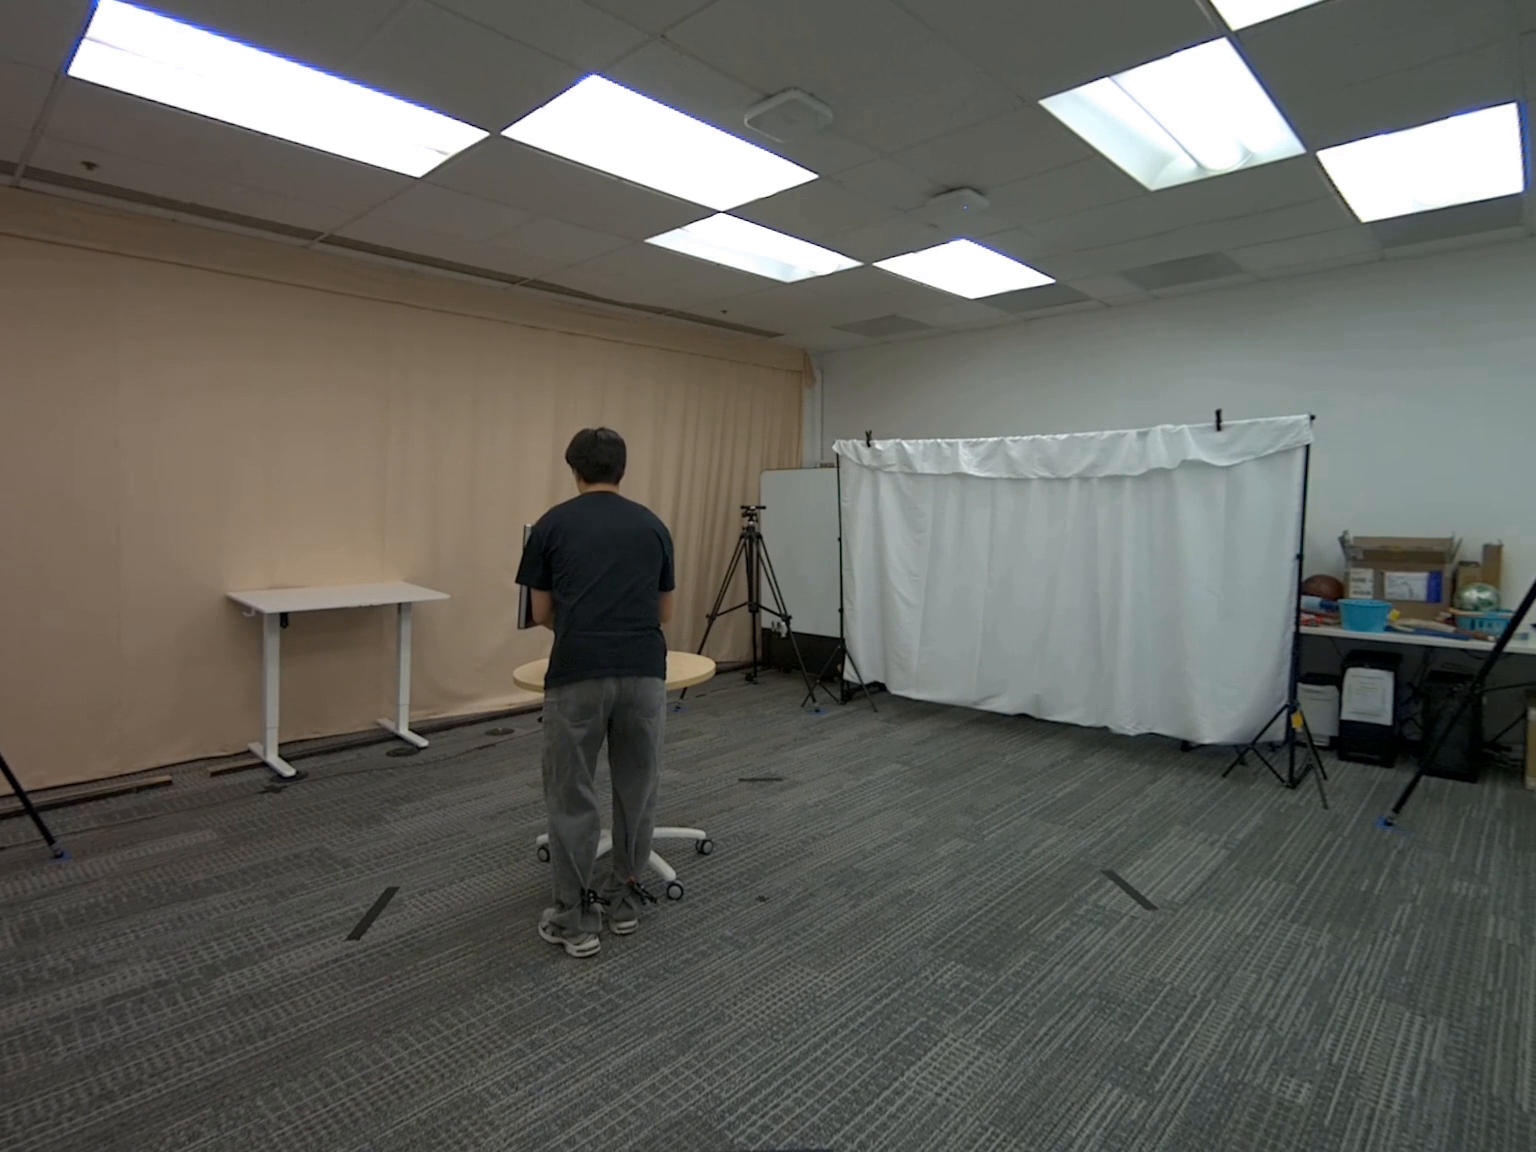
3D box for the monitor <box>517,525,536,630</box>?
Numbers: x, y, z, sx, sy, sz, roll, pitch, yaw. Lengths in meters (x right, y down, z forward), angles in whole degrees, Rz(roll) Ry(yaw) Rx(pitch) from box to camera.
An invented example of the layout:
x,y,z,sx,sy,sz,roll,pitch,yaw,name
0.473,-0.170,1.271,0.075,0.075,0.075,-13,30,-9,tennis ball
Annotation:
x,y,z,sx,sy,sz,roll,pitch,yaw,name
-0.731,0.084,3.121,0.225,0.566,0.554,-9,1,14,monitor
